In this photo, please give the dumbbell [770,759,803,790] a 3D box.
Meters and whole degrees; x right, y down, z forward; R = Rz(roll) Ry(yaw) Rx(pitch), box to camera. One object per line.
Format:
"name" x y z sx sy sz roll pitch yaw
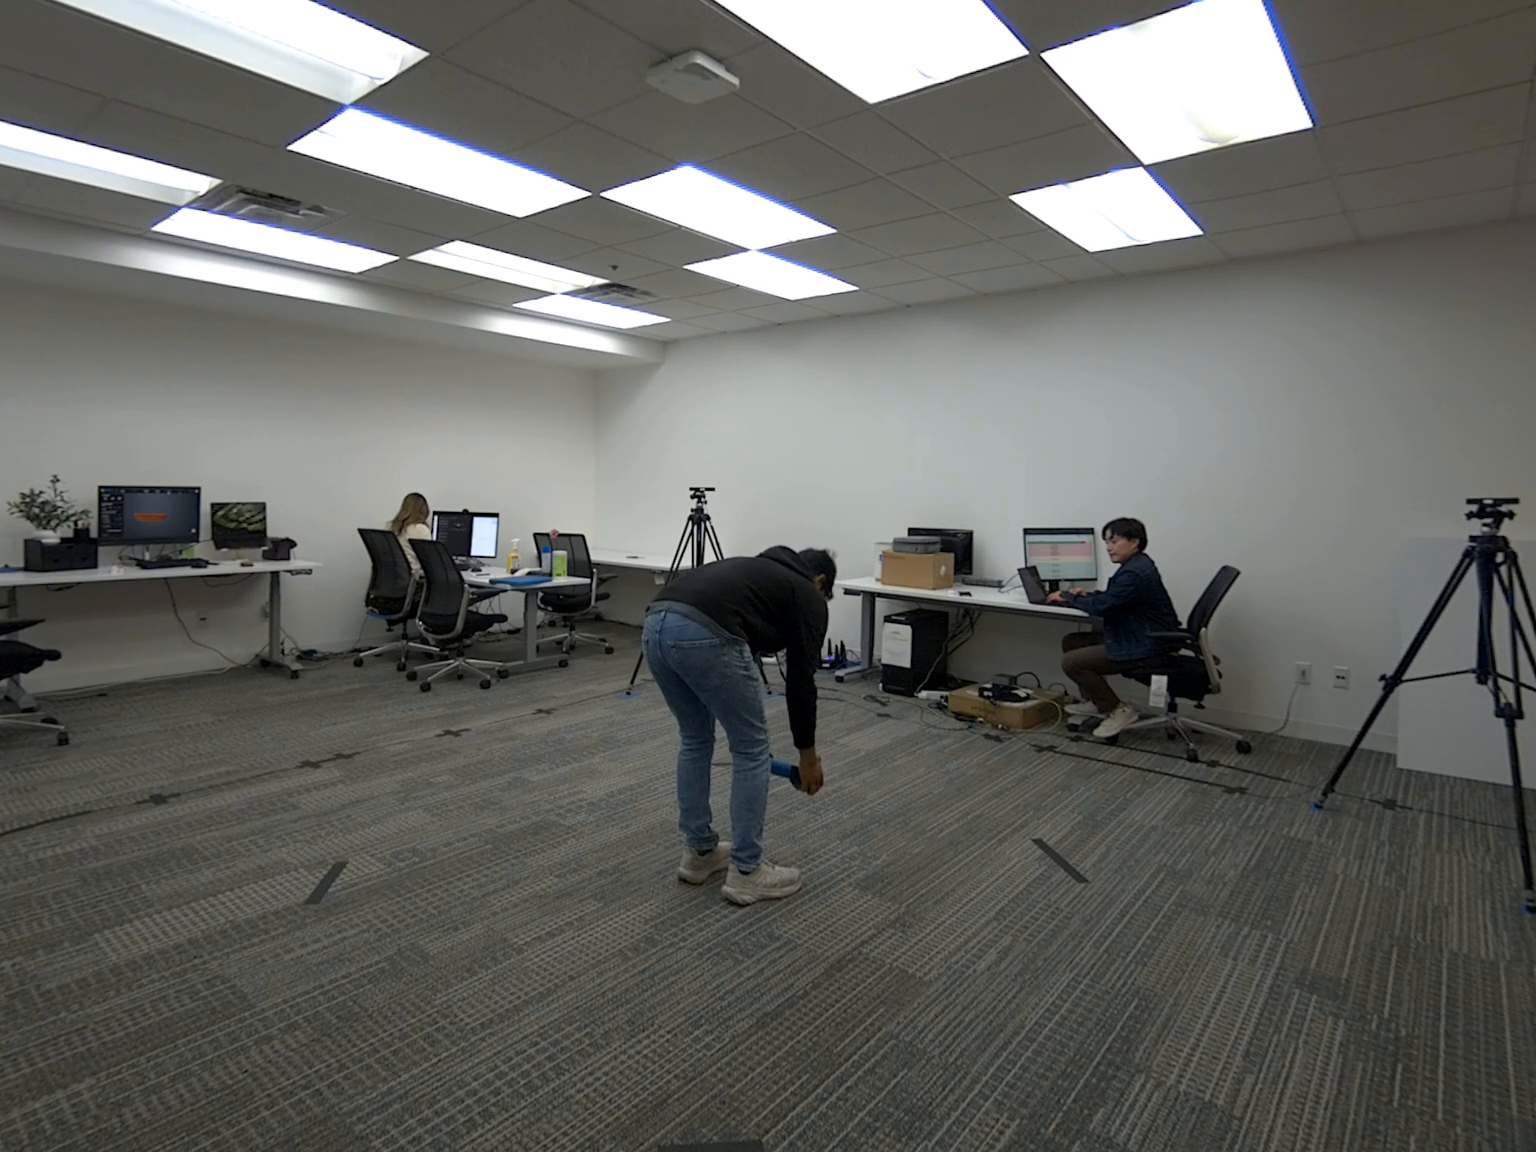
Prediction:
"dumbbell" 0.036 0.719 3.213 0.303 0.123 0.105 4 -7 36
